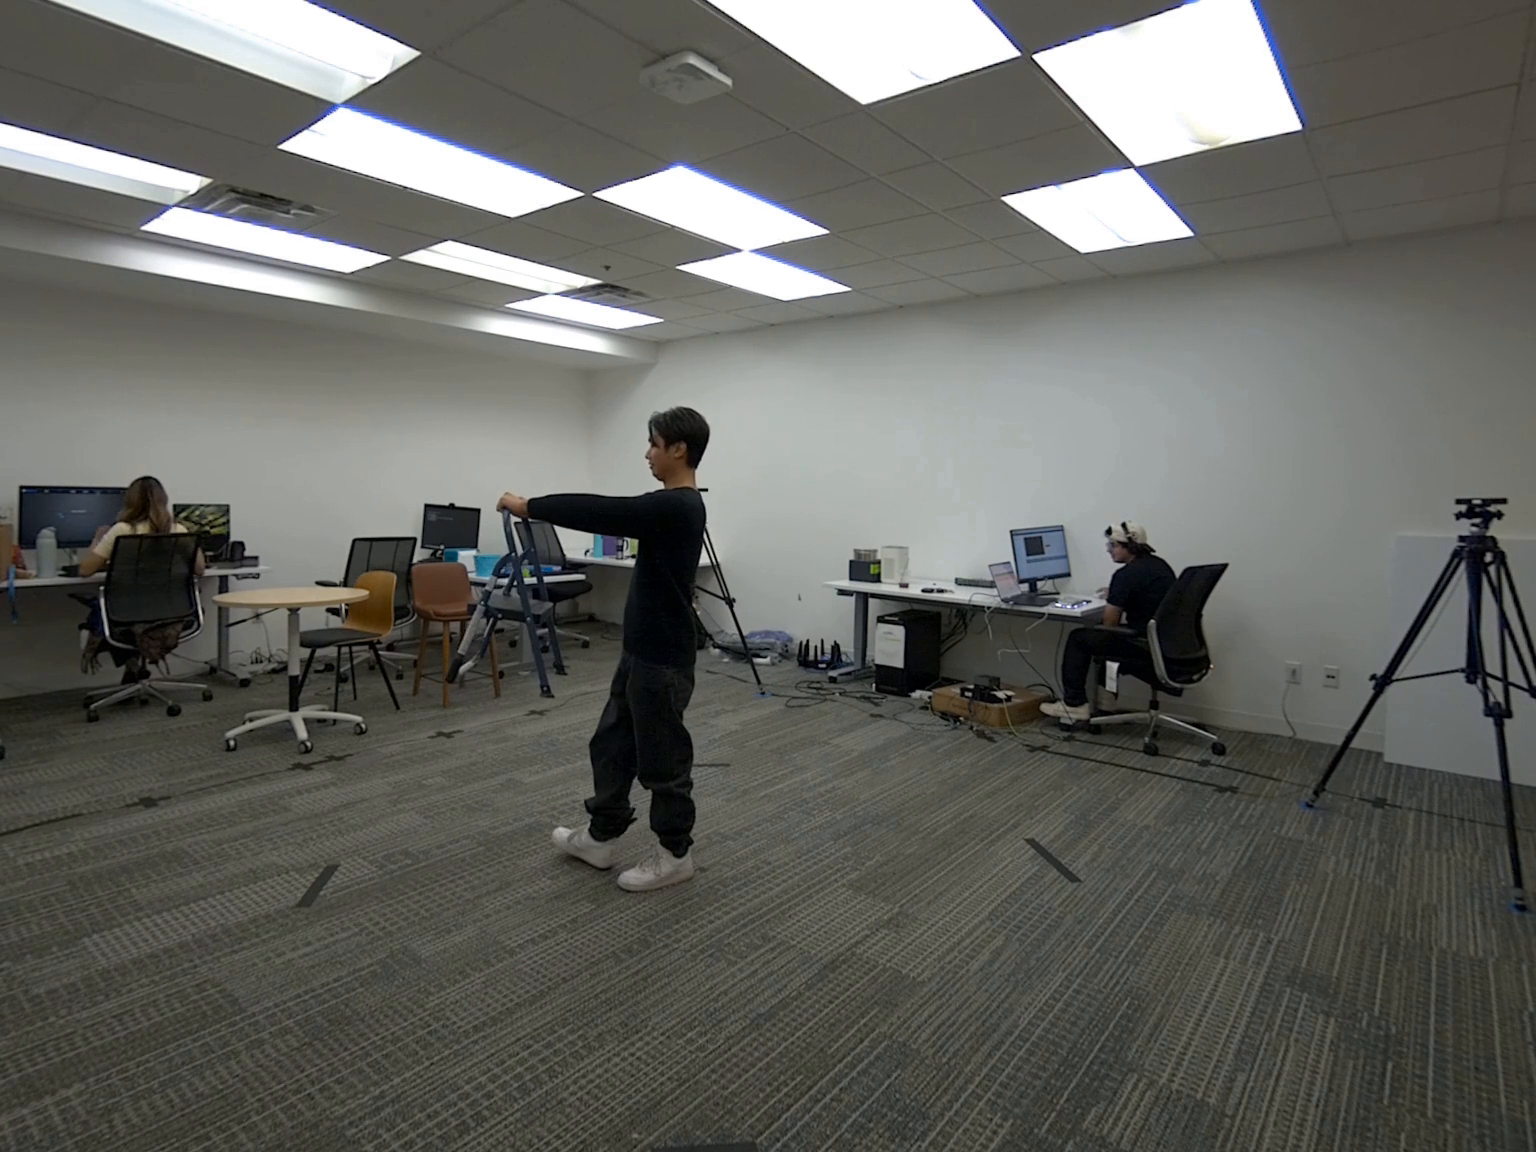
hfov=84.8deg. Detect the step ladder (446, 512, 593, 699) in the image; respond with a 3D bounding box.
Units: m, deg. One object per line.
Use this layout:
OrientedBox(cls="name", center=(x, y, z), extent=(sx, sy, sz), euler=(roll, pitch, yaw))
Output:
OrientedBox(cls="step ladder", center=(-0.865, 0.058, 2.942), extent=(0.346, 0.606, 0.434), euler=(8, 1, -8))
